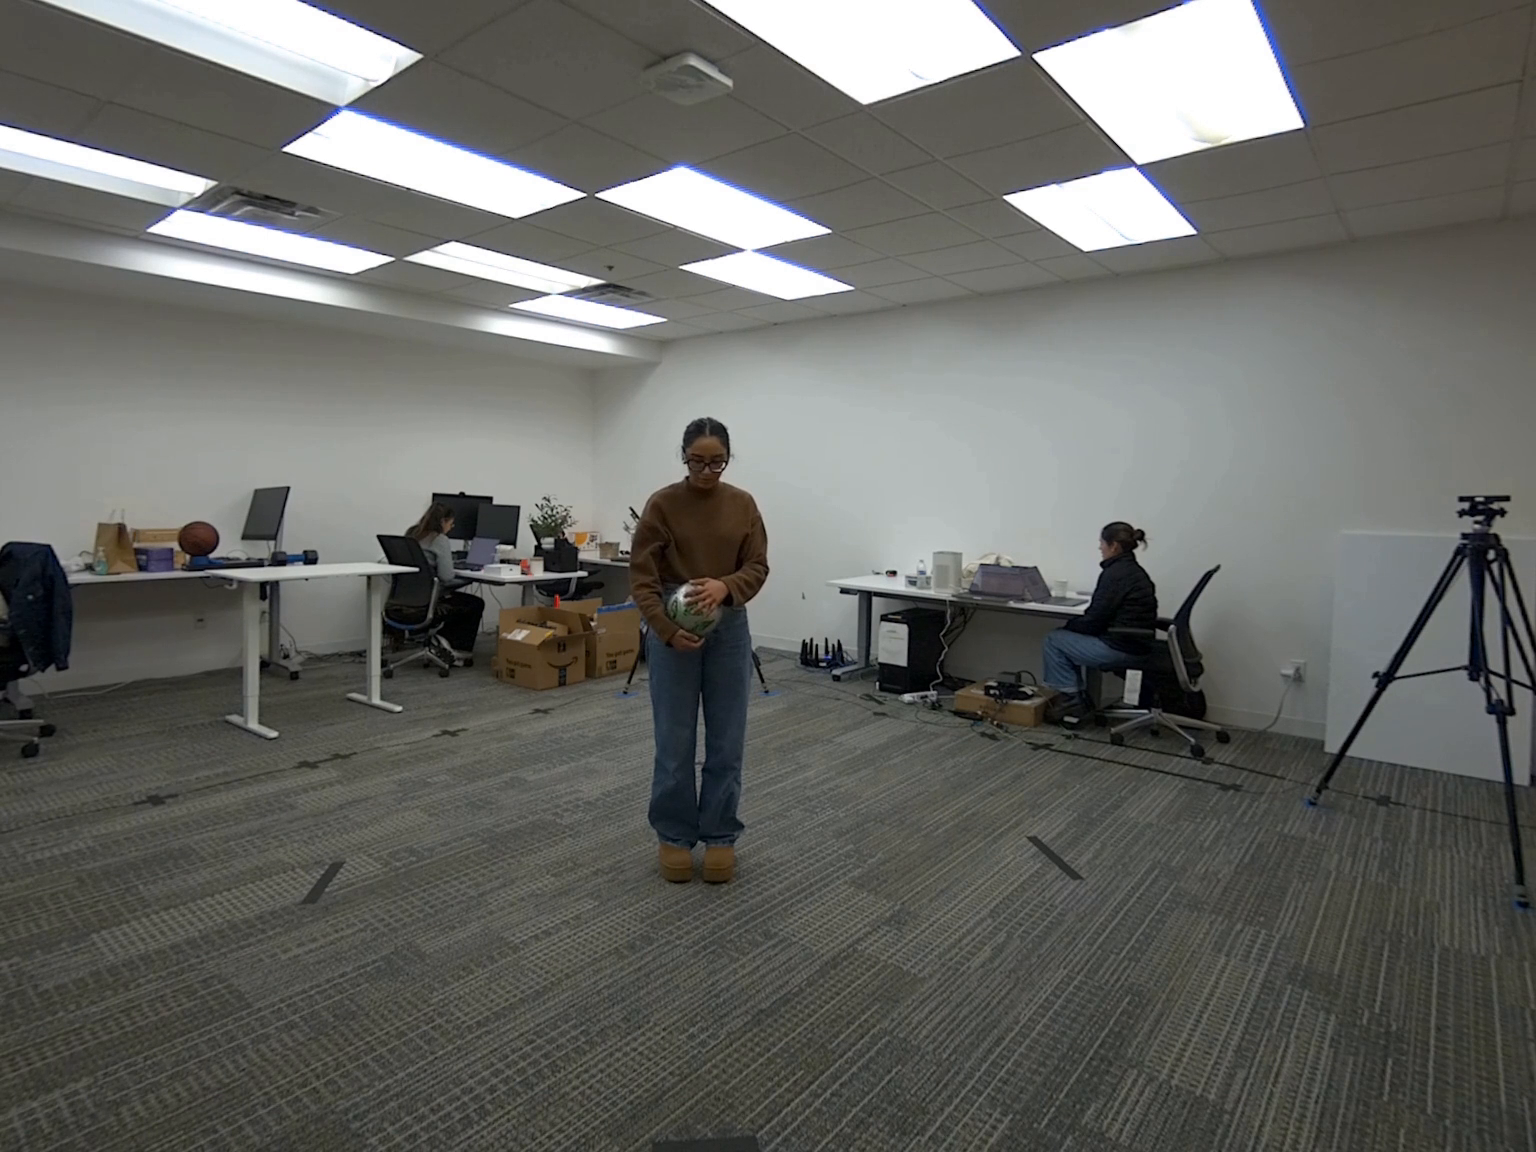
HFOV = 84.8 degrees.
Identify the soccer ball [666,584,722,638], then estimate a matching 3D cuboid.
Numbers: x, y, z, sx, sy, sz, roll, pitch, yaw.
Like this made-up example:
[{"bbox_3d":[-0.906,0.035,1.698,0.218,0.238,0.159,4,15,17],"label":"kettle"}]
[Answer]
[{"bbox_3d":[-0.262,0.110,2.883,0.187,0.187,0.188,1,4,-2],"label":"soccer ball"}]
